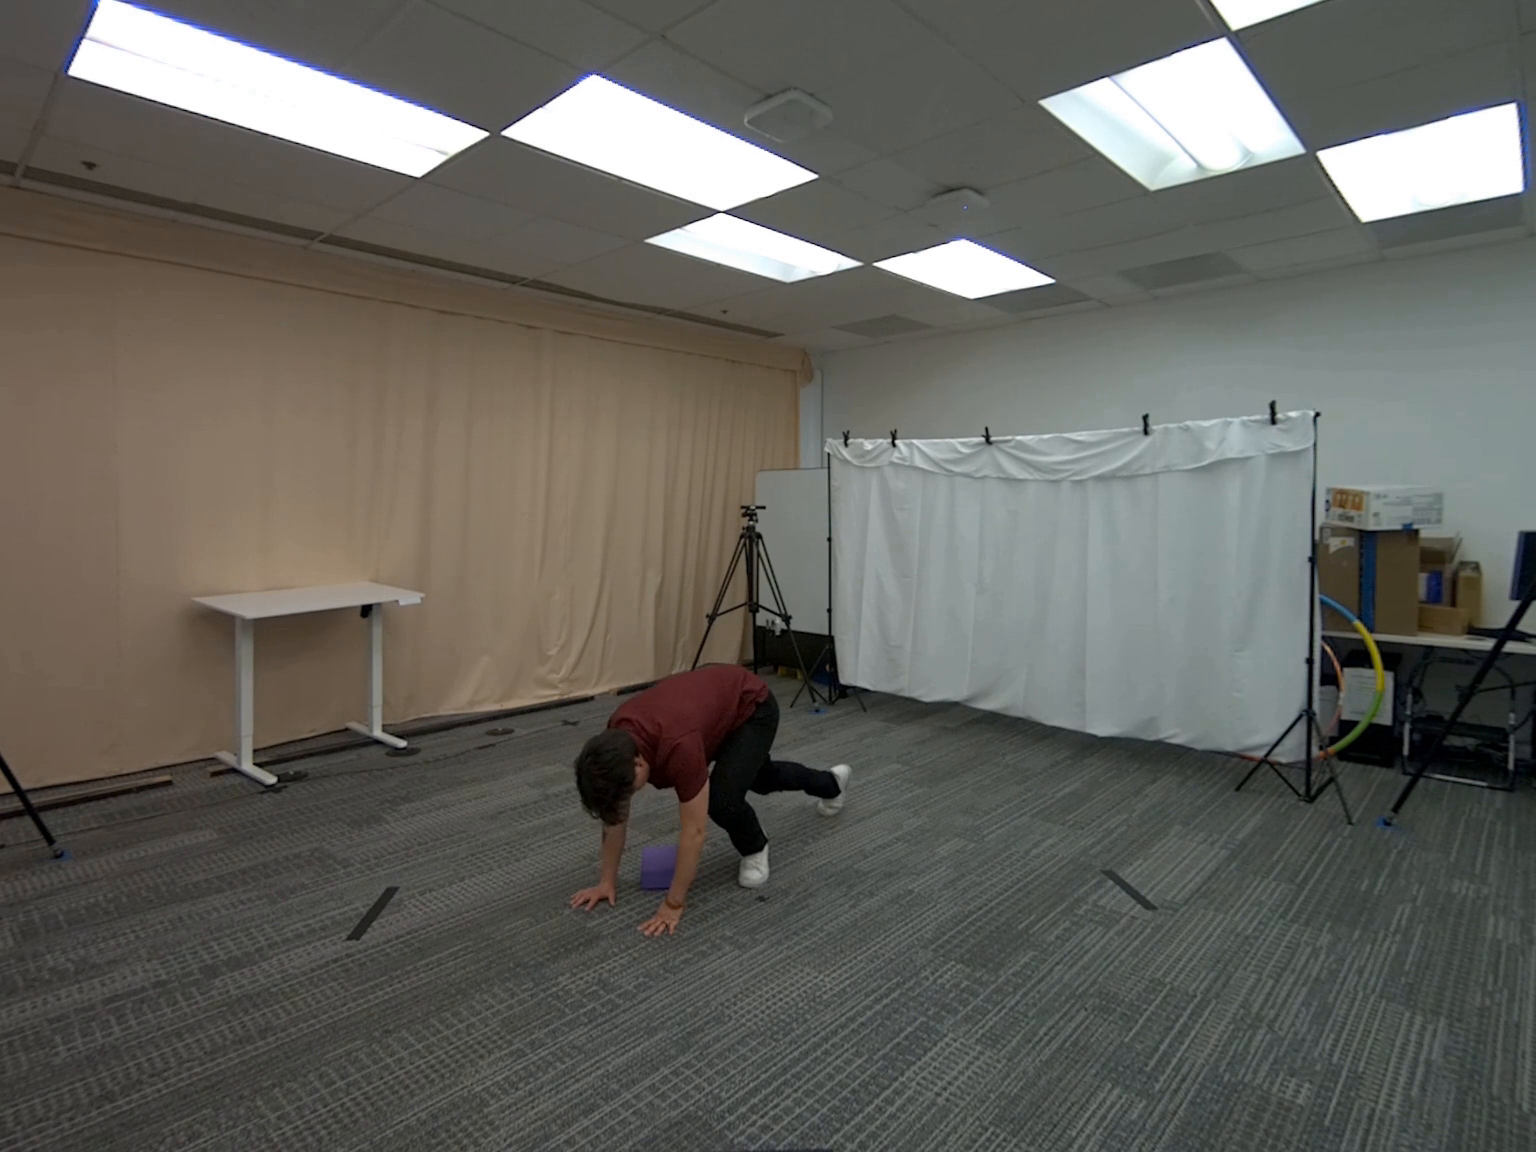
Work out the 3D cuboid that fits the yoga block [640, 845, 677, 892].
[{"bbox_3d":[-0.397,1.094,3.170,0.148,0.076,0.231,-1,4,-6],"label":"yoga block"}]
